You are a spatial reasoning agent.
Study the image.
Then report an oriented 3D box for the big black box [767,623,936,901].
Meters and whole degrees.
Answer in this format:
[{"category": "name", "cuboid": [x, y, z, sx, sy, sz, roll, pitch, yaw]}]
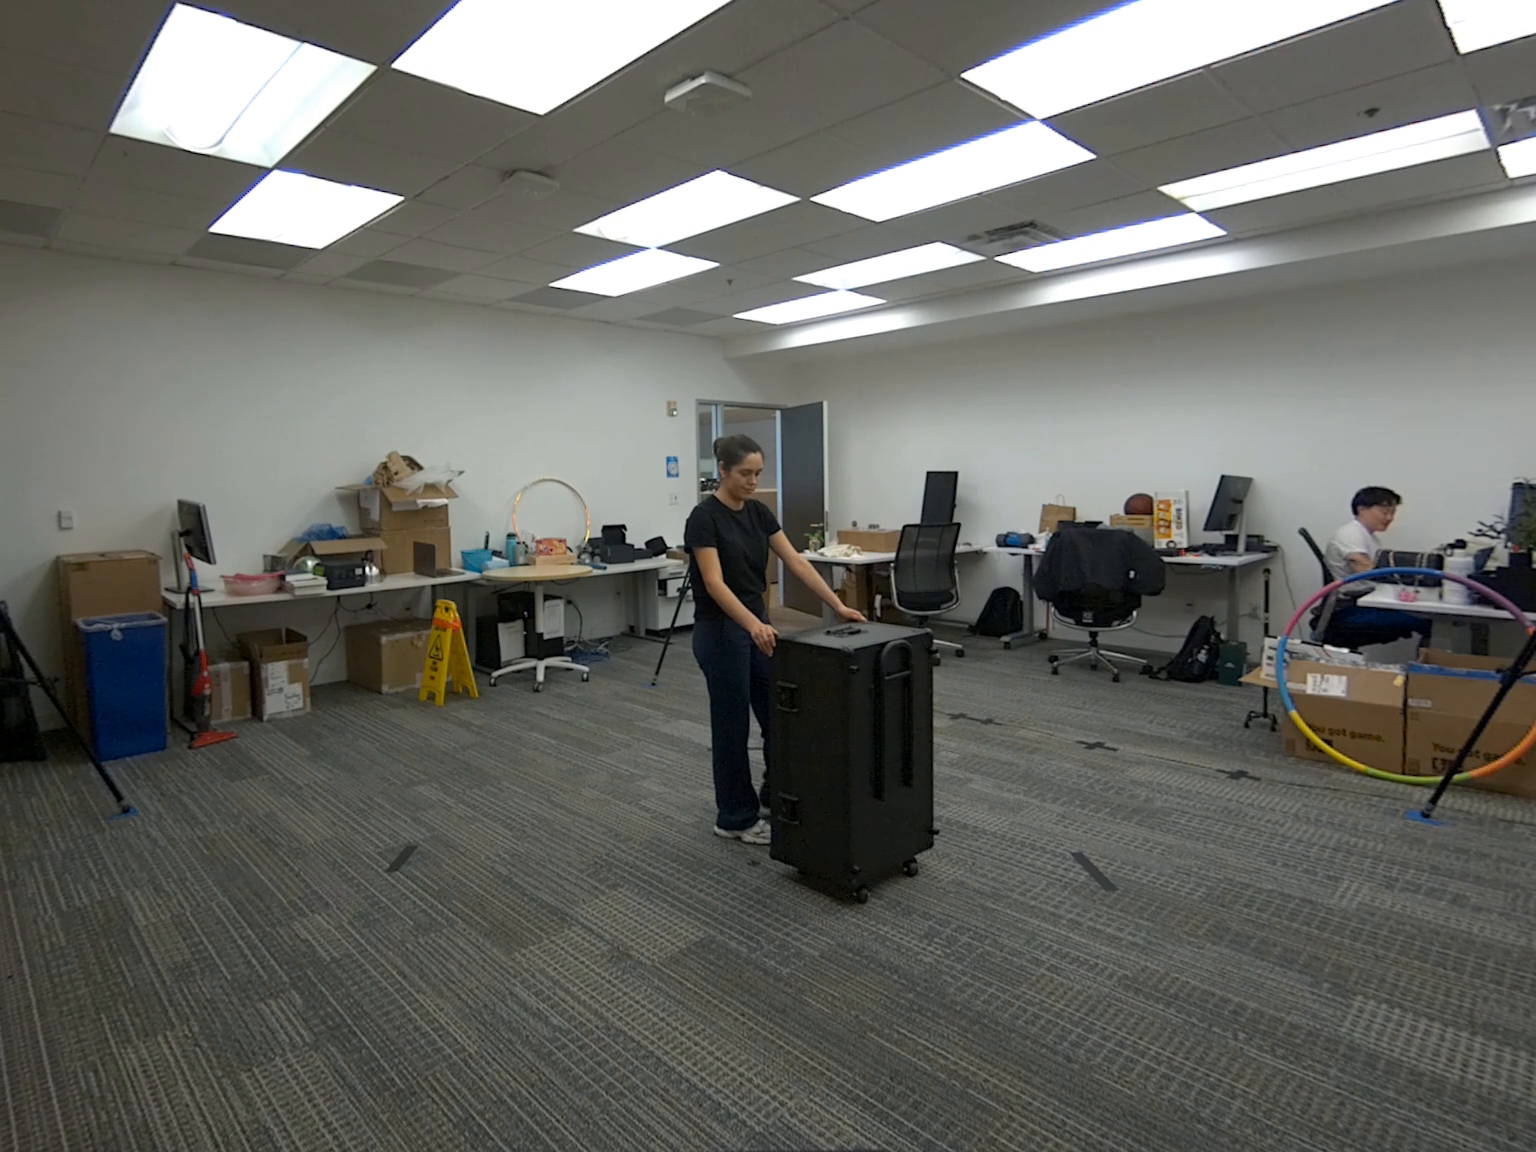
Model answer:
[{"category": "big black box", "cuboid": [0.308, 0.624, 3.007, 0.507, 0.858, 0.408, -5, 6, -44]}]
